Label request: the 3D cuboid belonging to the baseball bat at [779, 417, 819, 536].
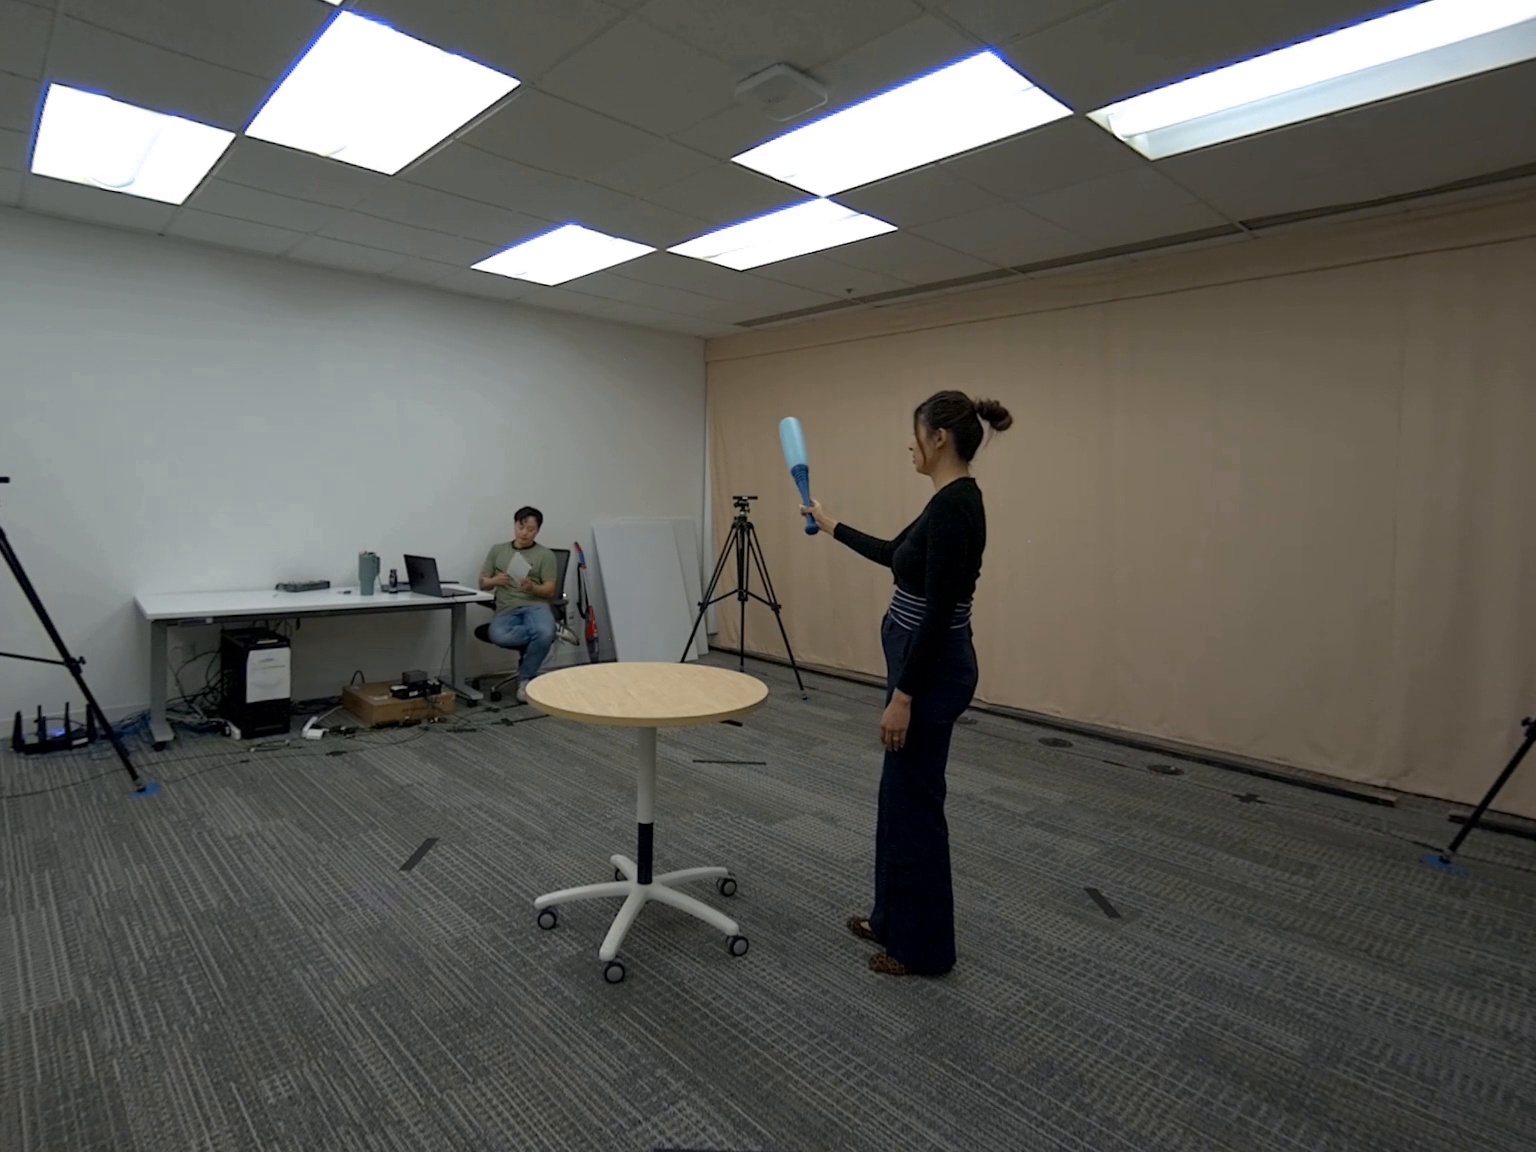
[{"bbox_3d":[0.116,-0.366,3.097,0.089,0.556,0.087,-5,-37,-5],"label":"baseball bat"}]
